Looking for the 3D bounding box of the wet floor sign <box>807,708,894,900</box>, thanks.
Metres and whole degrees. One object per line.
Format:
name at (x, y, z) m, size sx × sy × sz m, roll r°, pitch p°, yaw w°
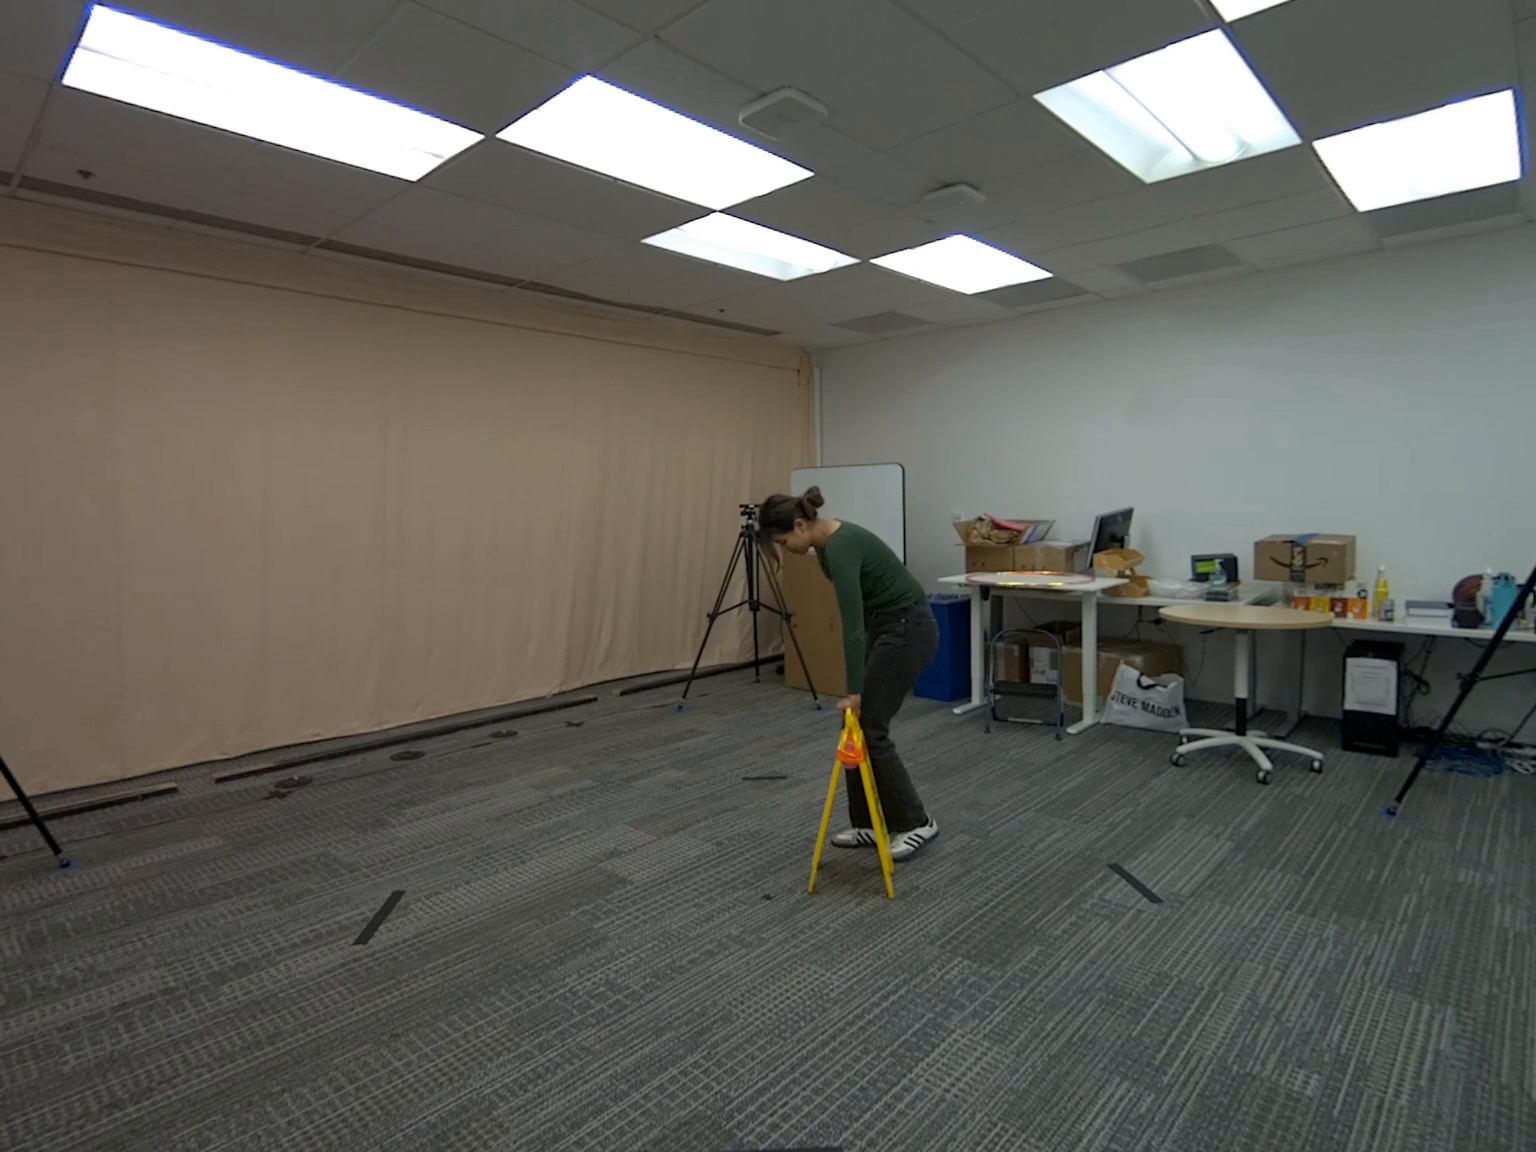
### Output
wet floor sign at (0.305, 0.800, 3.091) m, size 0.293 × 0.645 × 0.279 m, roll -1°, pitch 2°, yaw 9°
